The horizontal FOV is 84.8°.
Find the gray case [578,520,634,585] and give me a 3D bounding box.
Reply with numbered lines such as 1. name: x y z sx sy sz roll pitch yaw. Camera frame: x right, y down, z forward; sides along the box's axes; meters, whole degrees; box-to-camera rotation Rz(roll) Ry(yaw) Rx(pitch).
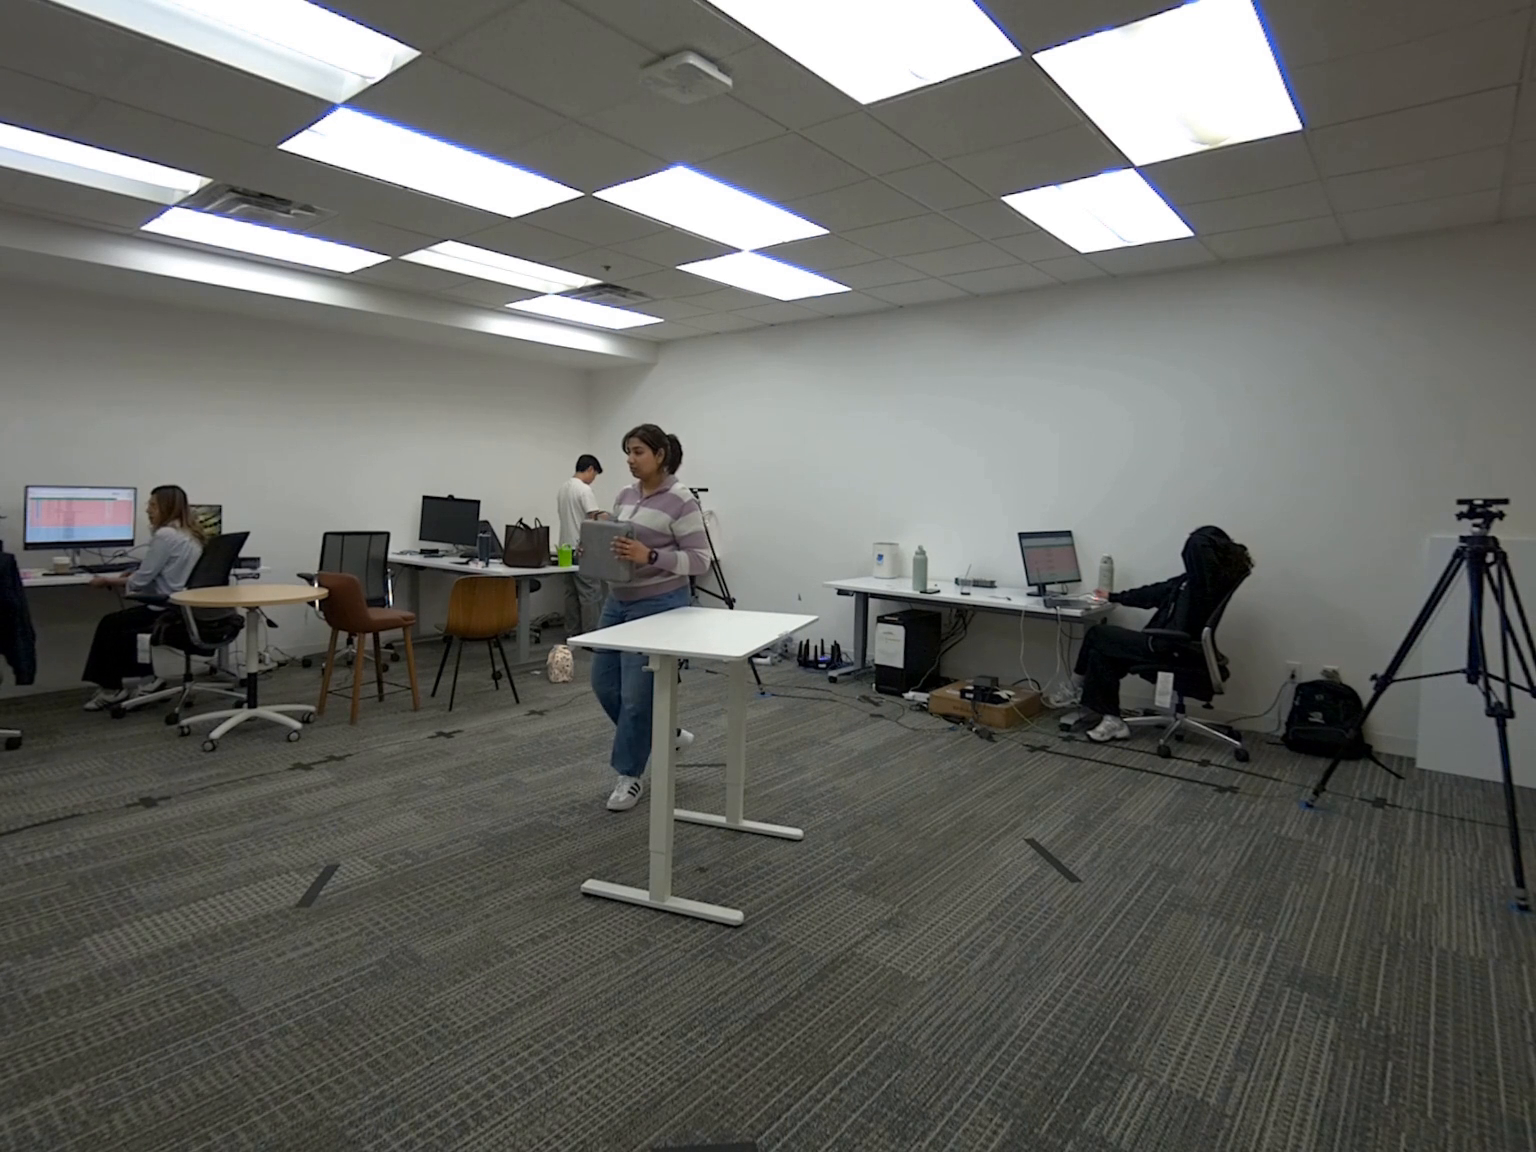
1. gray case: -0.696 -0.115 3.596 0.265 0.259 0.102 6 8 30
